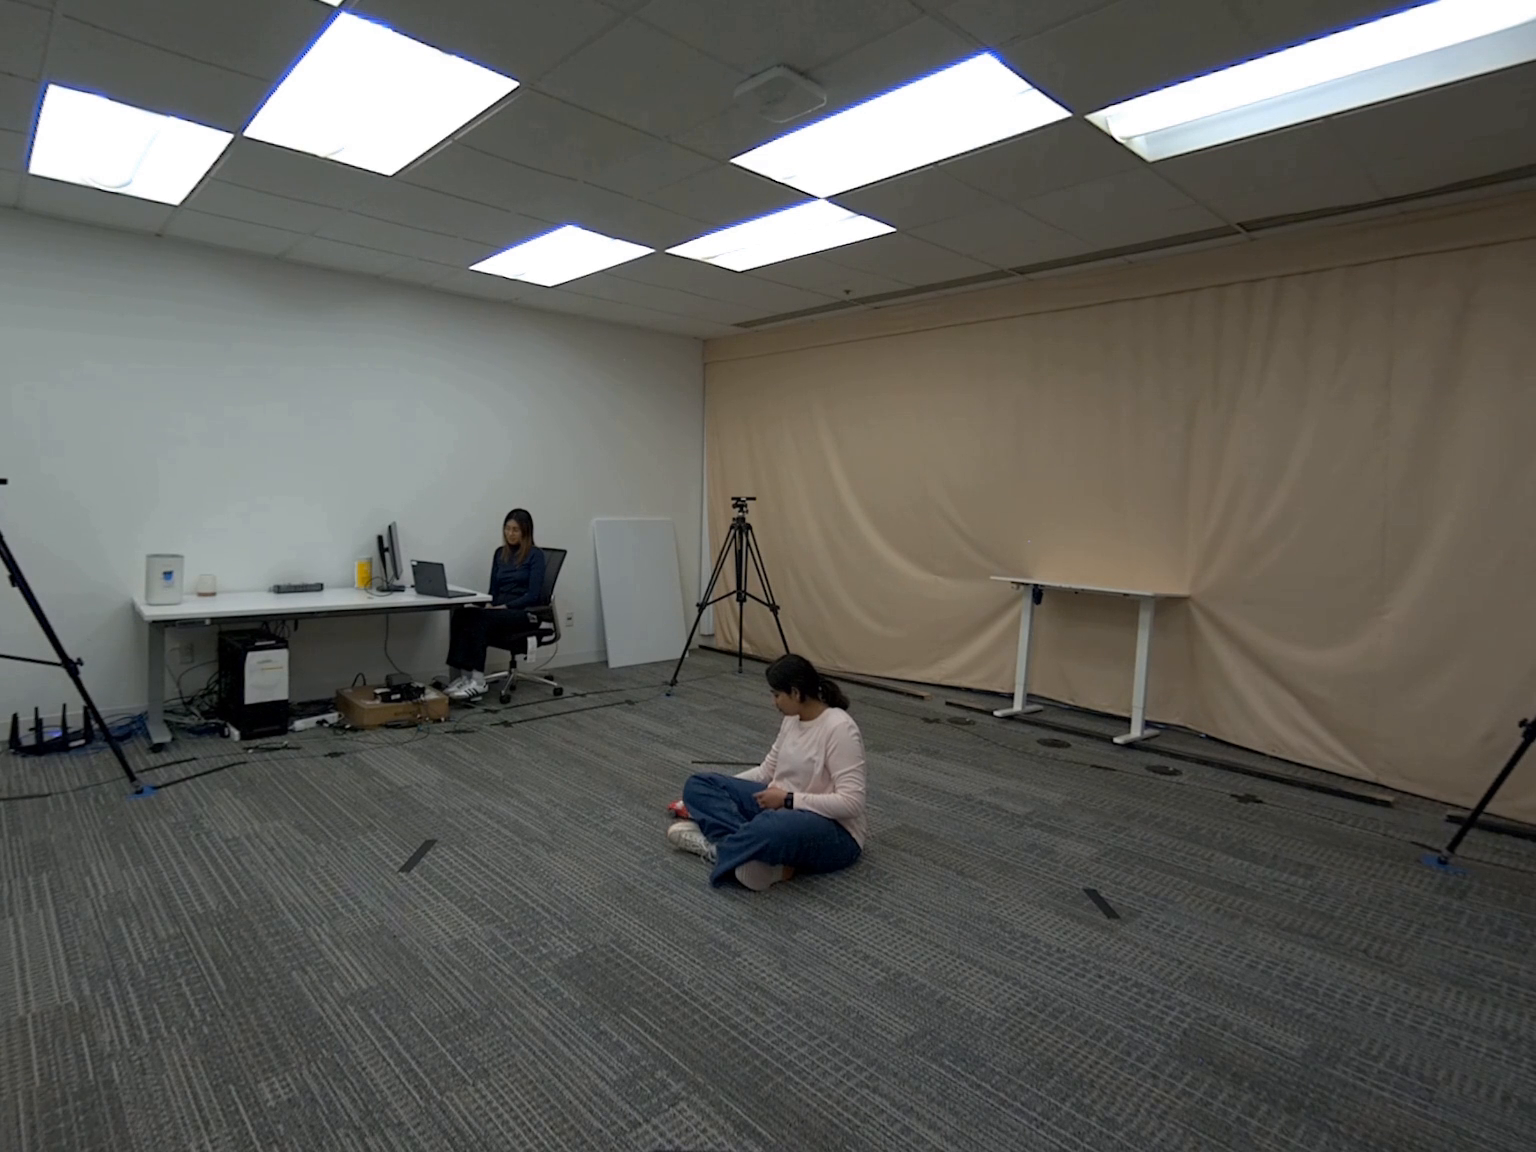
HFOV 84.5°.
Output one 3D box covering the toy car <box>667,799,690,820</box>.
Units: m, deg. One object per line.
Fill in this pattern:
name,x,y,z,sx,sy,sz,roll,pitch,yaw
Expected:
toy car,-0.310,1.019,3.660,0.259,0.083,0.128,-8,0,28
